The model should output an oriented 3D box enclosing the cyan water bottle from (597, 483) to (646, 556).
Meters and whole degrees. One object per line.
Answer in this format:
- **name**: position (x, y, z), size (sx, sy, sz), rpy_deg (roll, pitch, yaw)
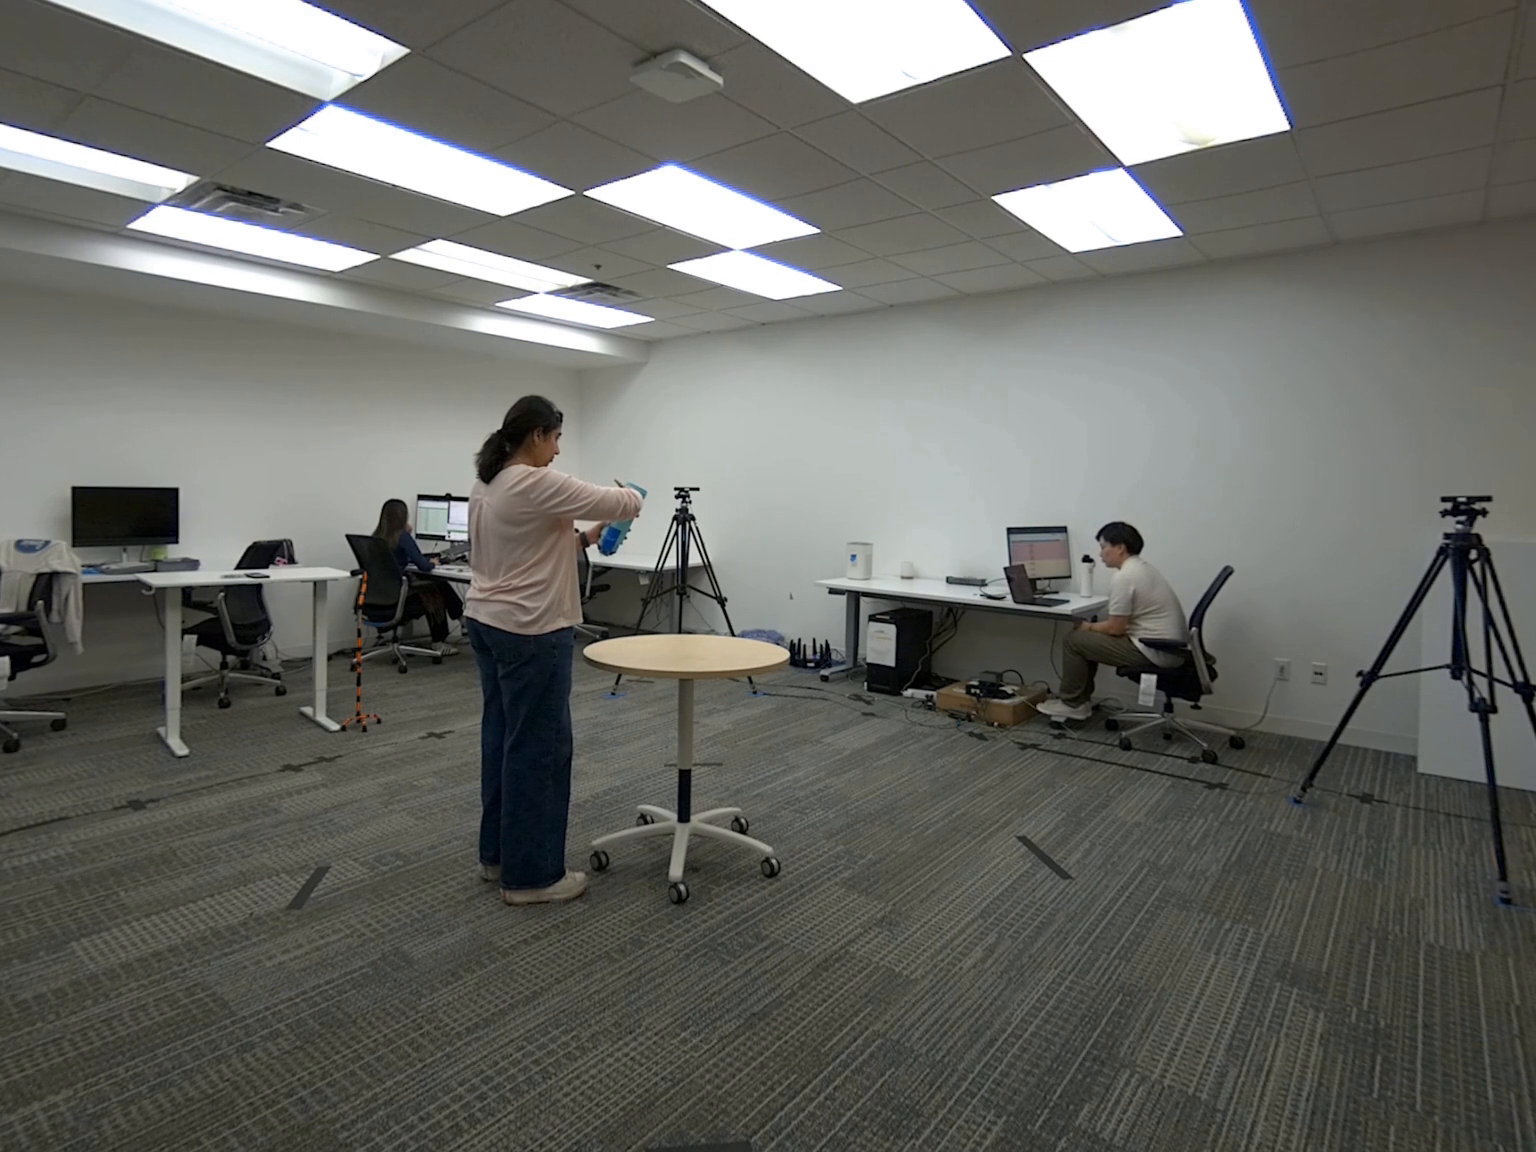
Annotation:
- **cyan water bottle**: position (-0.570, -0.205, 3.153), size (0.092, 0.283, 0.092), rpy_deg (25, -2, -2)
